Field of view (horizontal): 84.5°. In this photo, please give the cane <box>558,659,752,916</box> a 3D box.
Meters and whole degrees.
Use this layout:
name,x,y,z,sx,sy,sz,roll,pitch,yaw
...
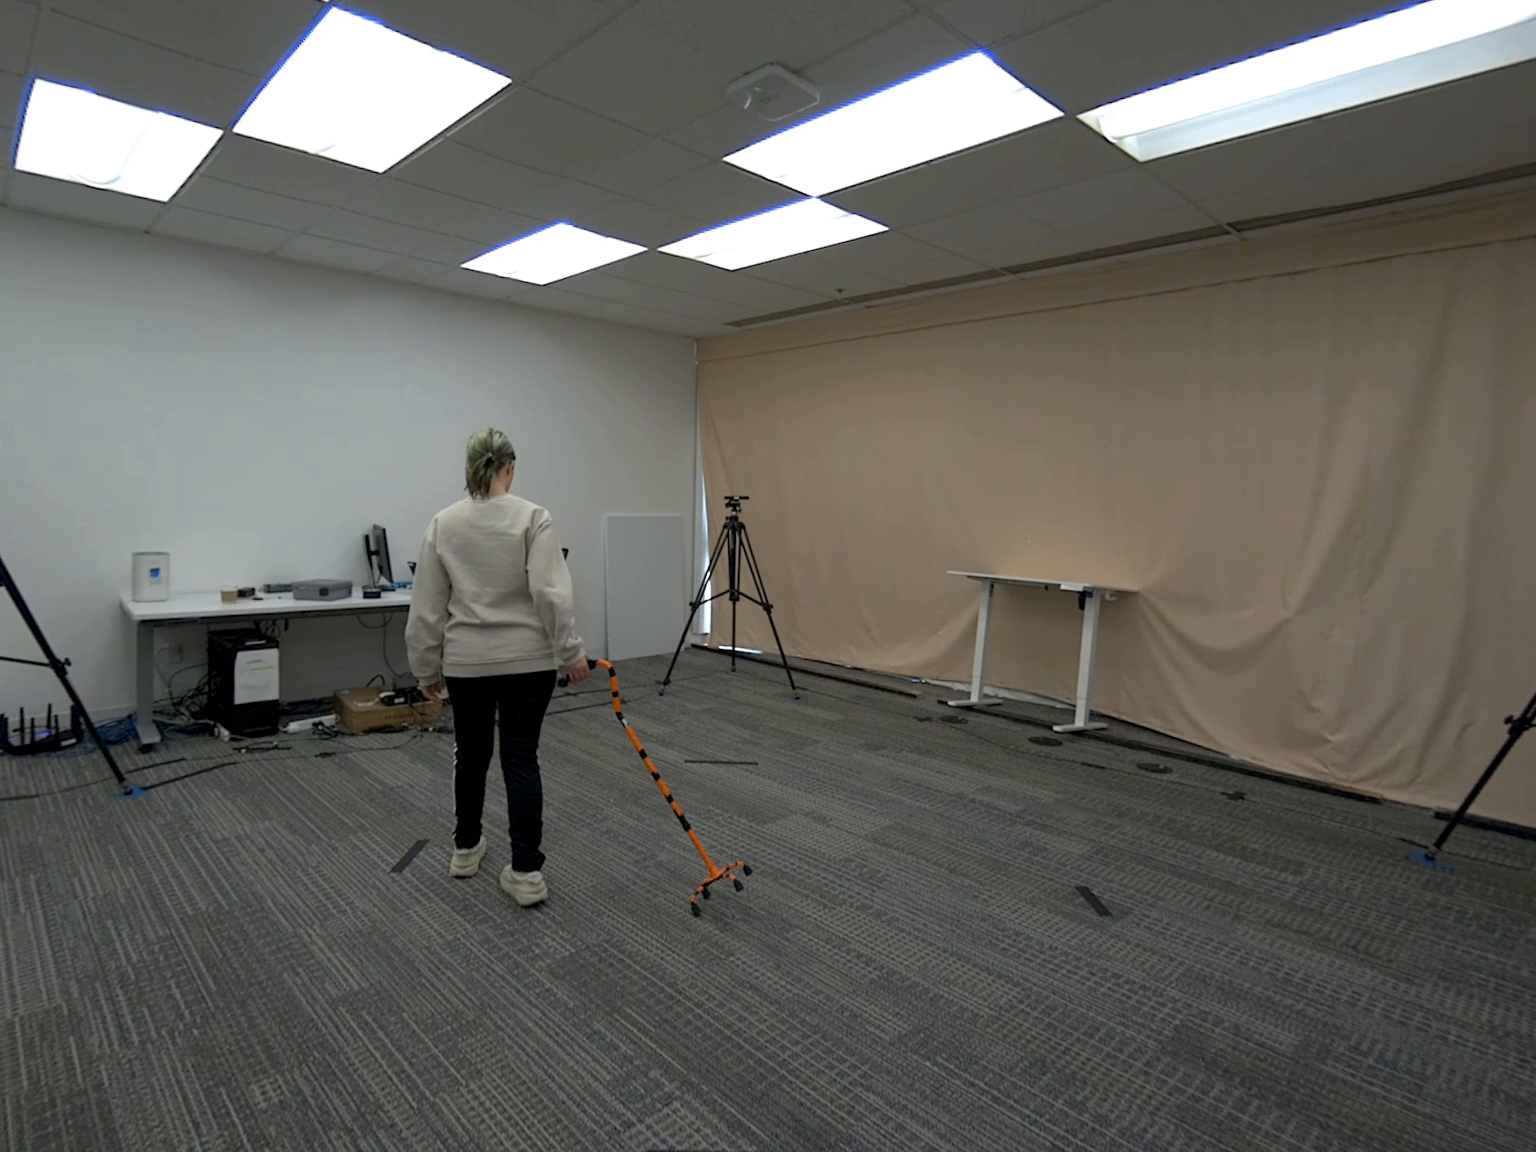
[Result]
name,x,y,z,sx,sy,sz,roll,pitch,yaw
cane,-0.394,0.692,2.886,0.207,0.914,0.150,-32,-6,11
